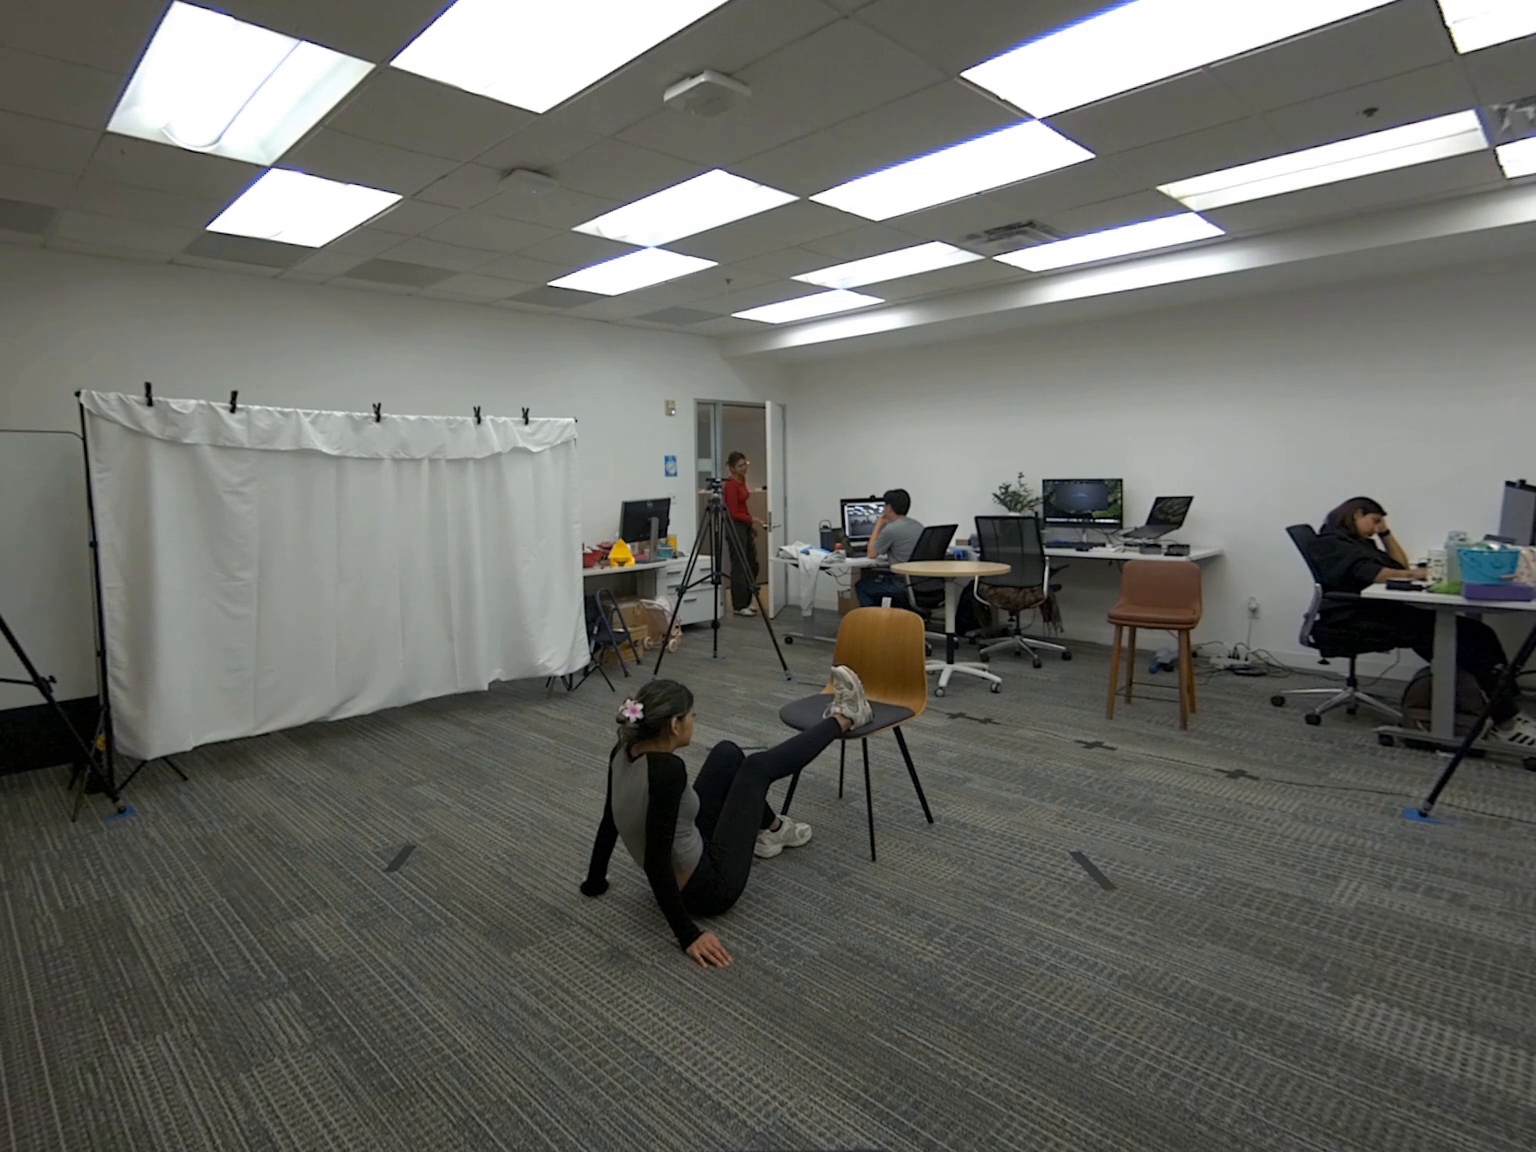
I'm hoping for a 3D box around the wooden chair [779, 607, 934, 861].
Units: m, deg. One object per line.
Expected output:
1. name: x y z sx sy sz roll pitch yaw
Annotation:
1. wooden chair: 0.341 0.576 3.376 0.492 0.877 0.508 3 1 40
